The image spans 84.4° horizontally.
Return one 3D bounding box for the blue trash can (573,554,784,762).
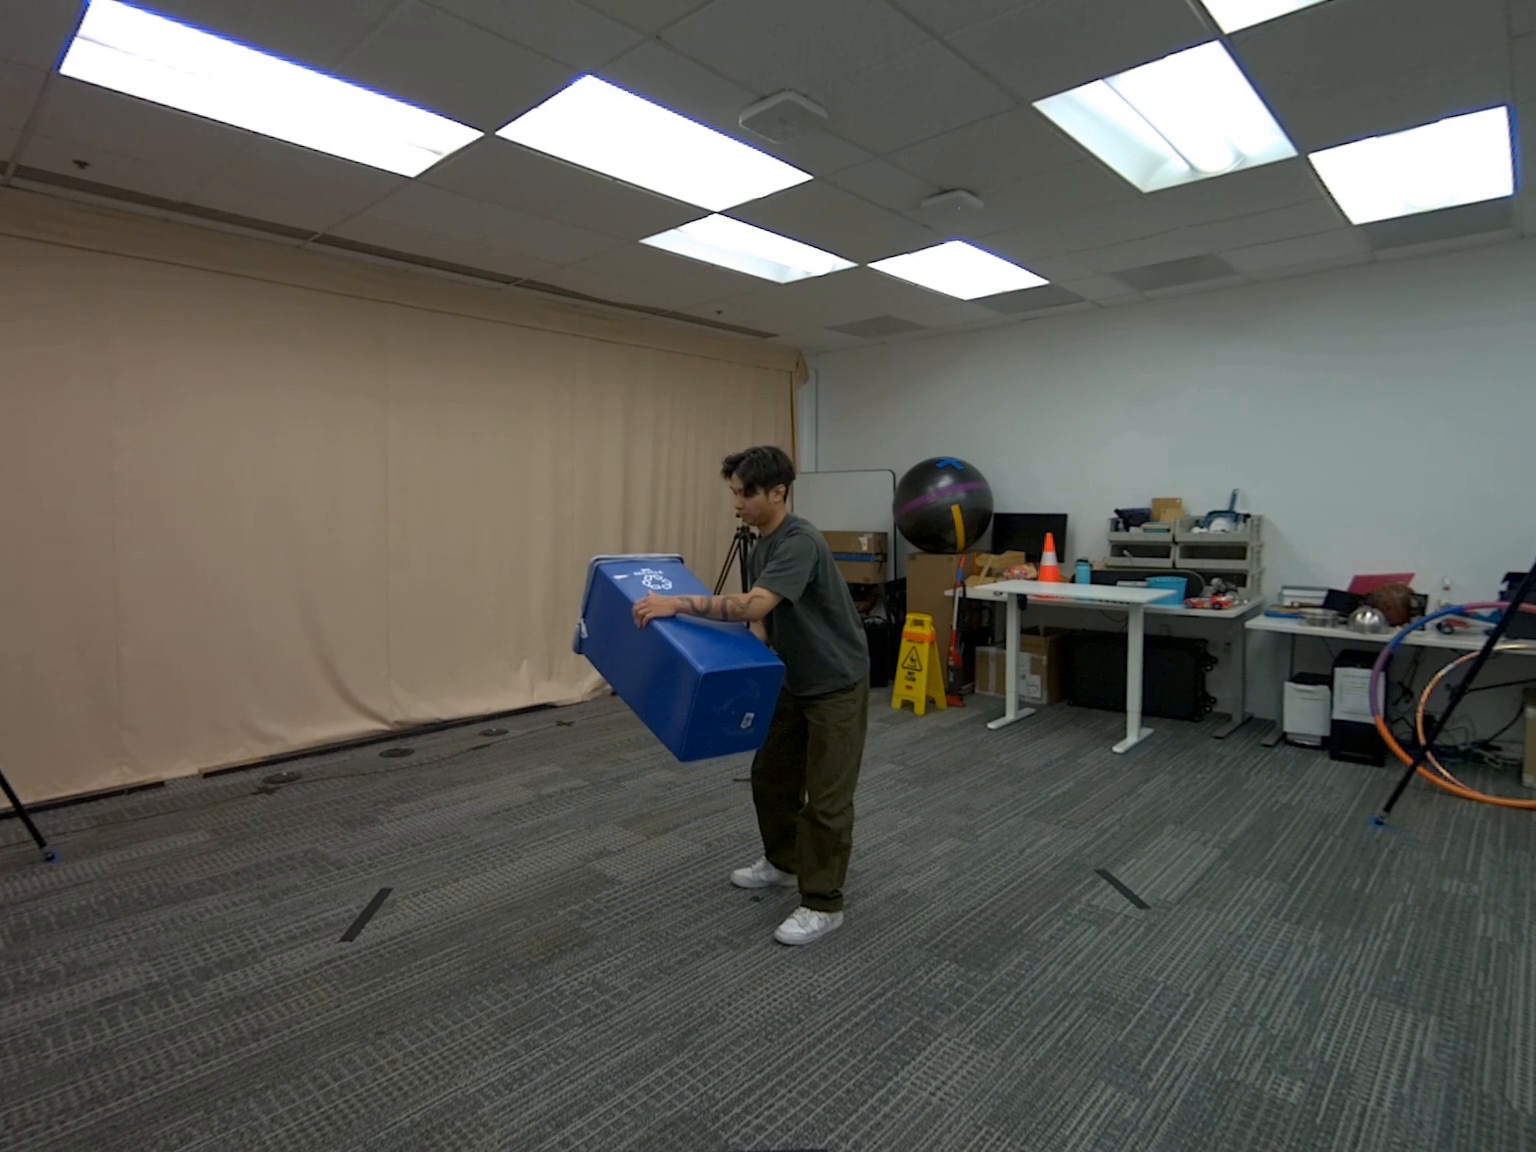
[{"bbox_3d":[-0.299,0.255,2.700,0.367,0.371,0.740,-1,27,-35],"label":"blue trash can"}]
